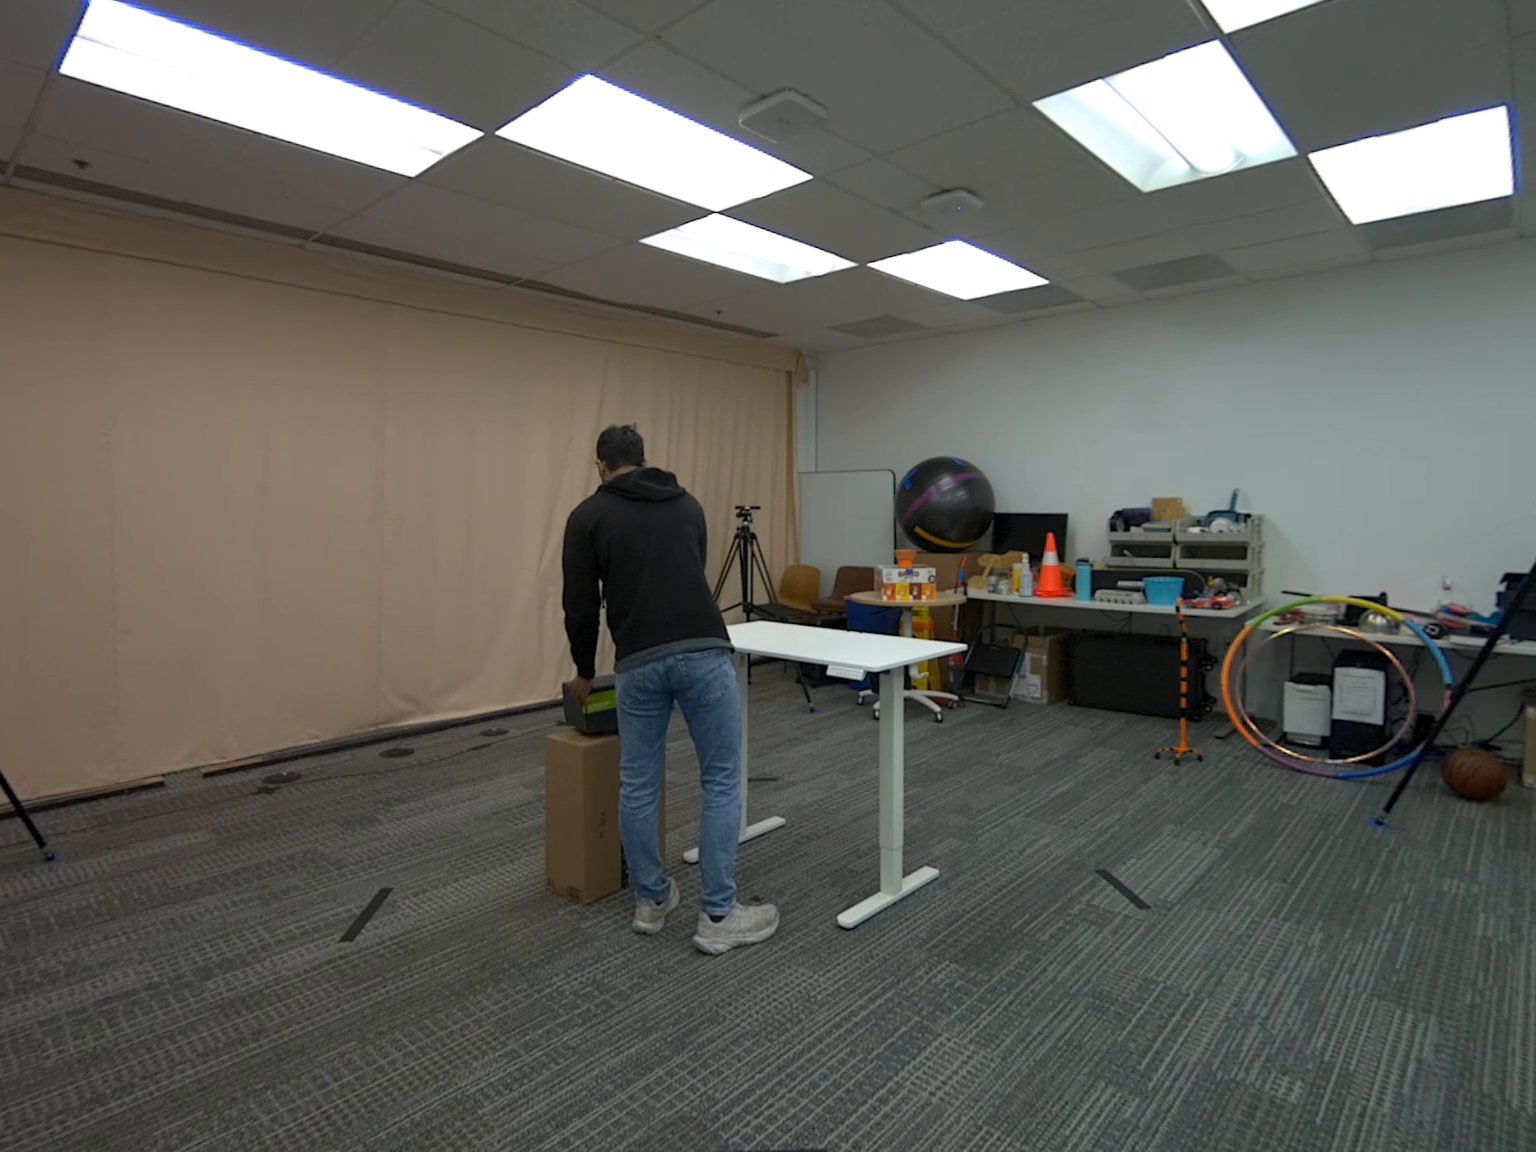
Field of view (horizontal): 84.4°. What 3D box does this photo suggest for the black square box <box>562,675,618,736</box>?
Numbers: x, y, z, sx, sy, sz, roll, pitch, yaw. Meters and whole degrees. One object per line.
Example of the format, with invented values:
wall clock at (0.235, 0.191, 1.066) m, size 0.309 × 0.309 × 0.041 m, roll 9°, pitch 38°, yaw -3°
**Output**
black square box at (-0.615, 0.464, 3.141) m, size 0.222 × 0.155 × 0.223 m, roll -5°, pitch 5°, yaw -33°
